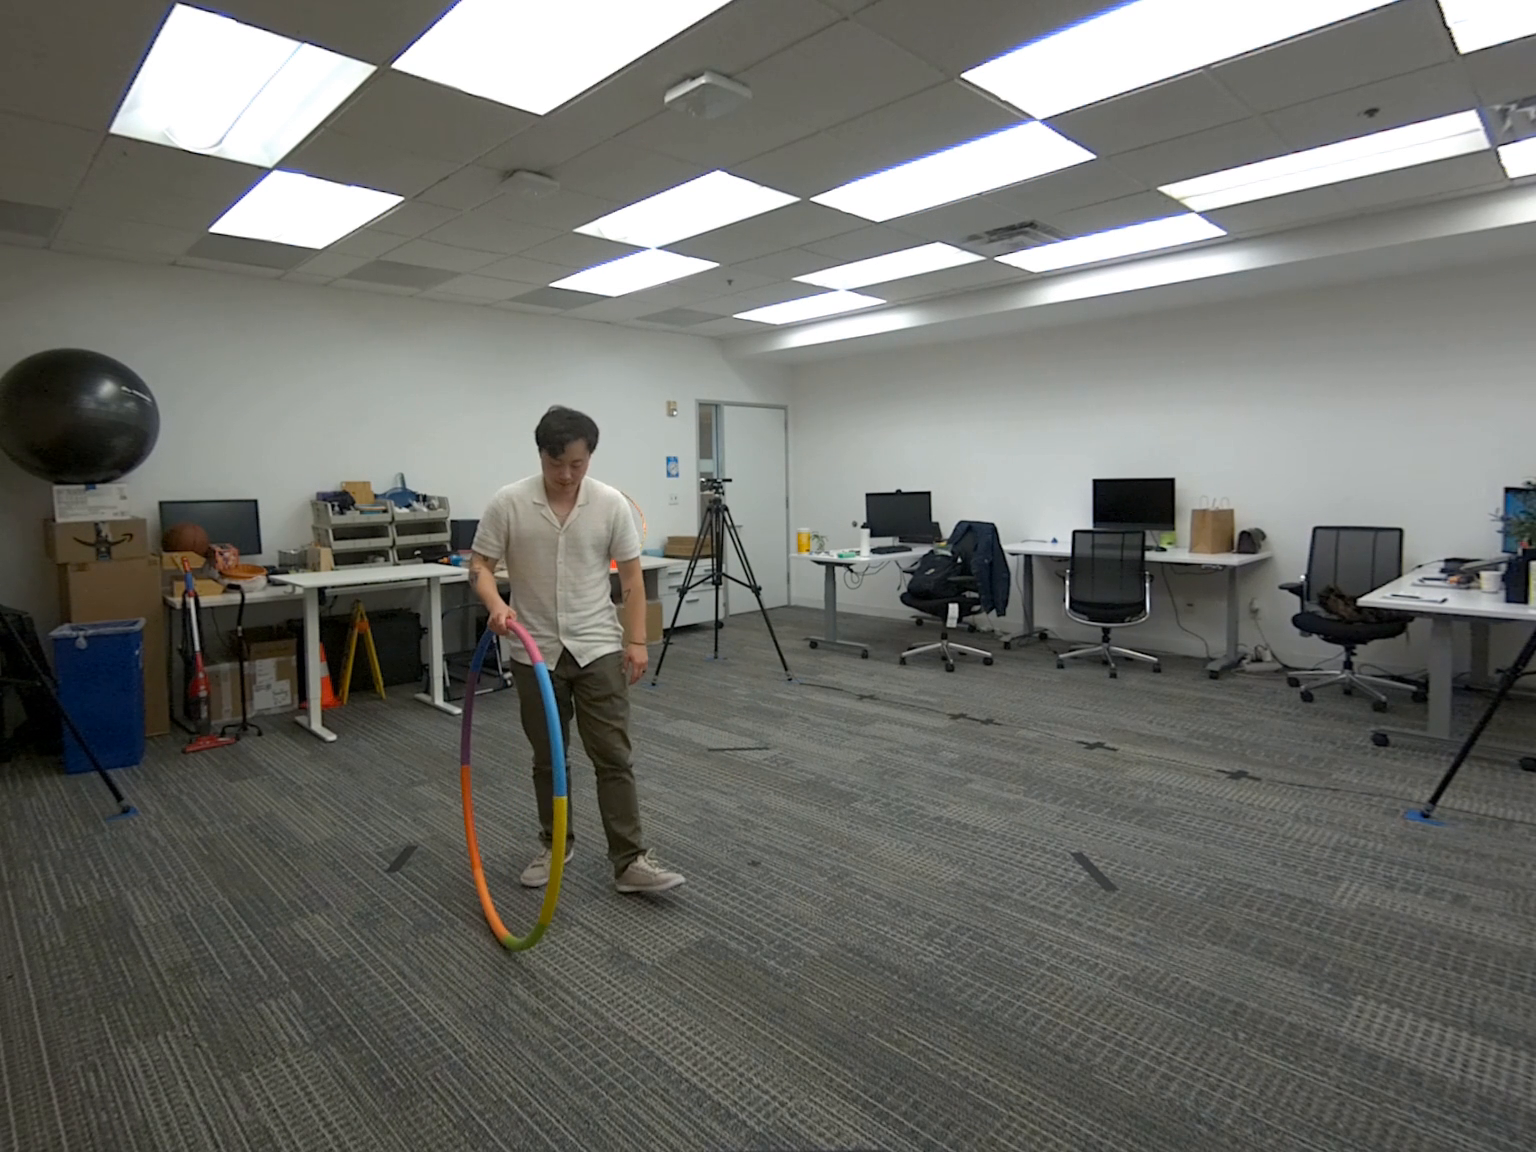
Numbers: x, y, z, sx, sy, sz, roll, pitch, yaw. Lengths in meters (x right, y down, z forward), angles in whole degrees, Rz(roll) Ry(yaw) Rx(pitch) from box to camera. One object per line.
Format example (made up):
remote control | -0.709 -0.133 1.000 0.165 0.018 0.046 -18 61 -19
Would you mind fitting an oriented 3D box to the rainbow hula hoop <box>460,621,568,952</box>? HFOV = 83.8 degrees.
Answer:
rainbow hula hoop | -0.807 0.627 2.647 0.034 0.977 1.006 2 2 -33
